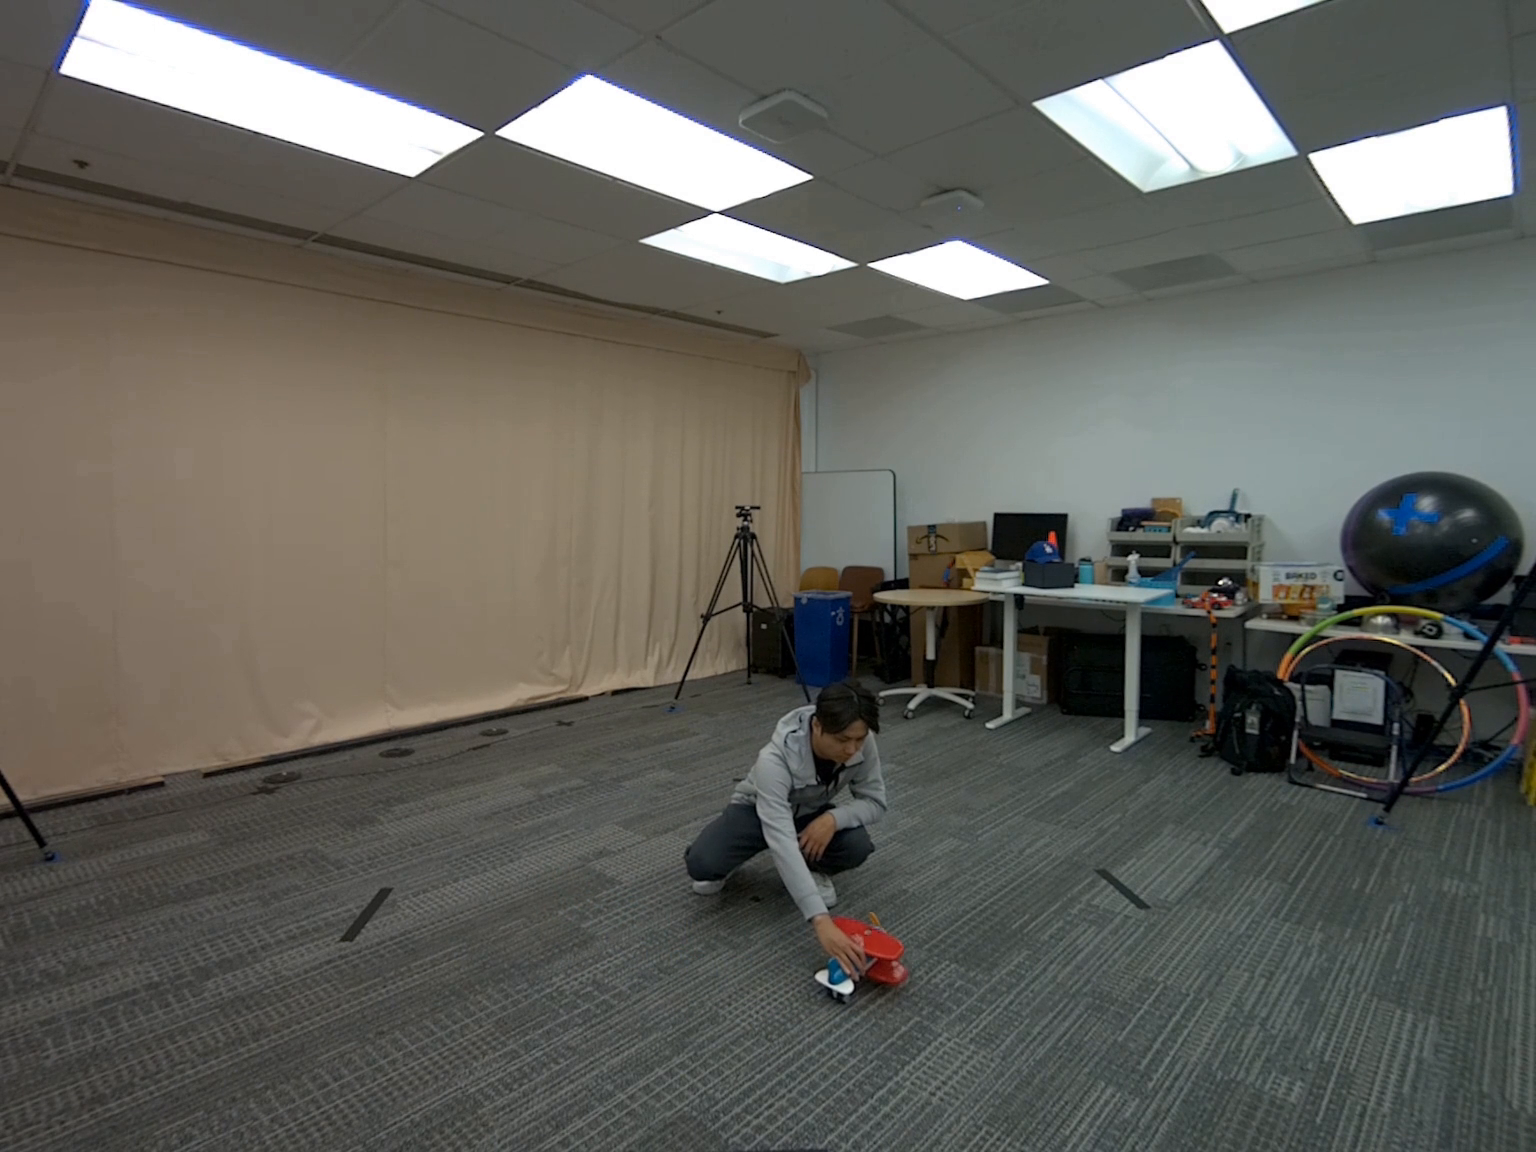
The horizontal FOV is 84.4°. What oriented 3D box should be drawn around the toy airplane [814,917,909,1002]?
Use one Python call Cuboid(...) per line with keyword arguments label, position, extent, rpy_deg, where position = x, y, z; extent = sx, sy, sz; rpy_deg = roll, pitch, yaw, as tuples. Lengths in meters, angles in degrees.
Cuboid(label="toy airplane", position=(0.272, 1.111, 2.425), extent=(0.256, 0.156, 0.255), rpy_deg=(2, 4, 17))
